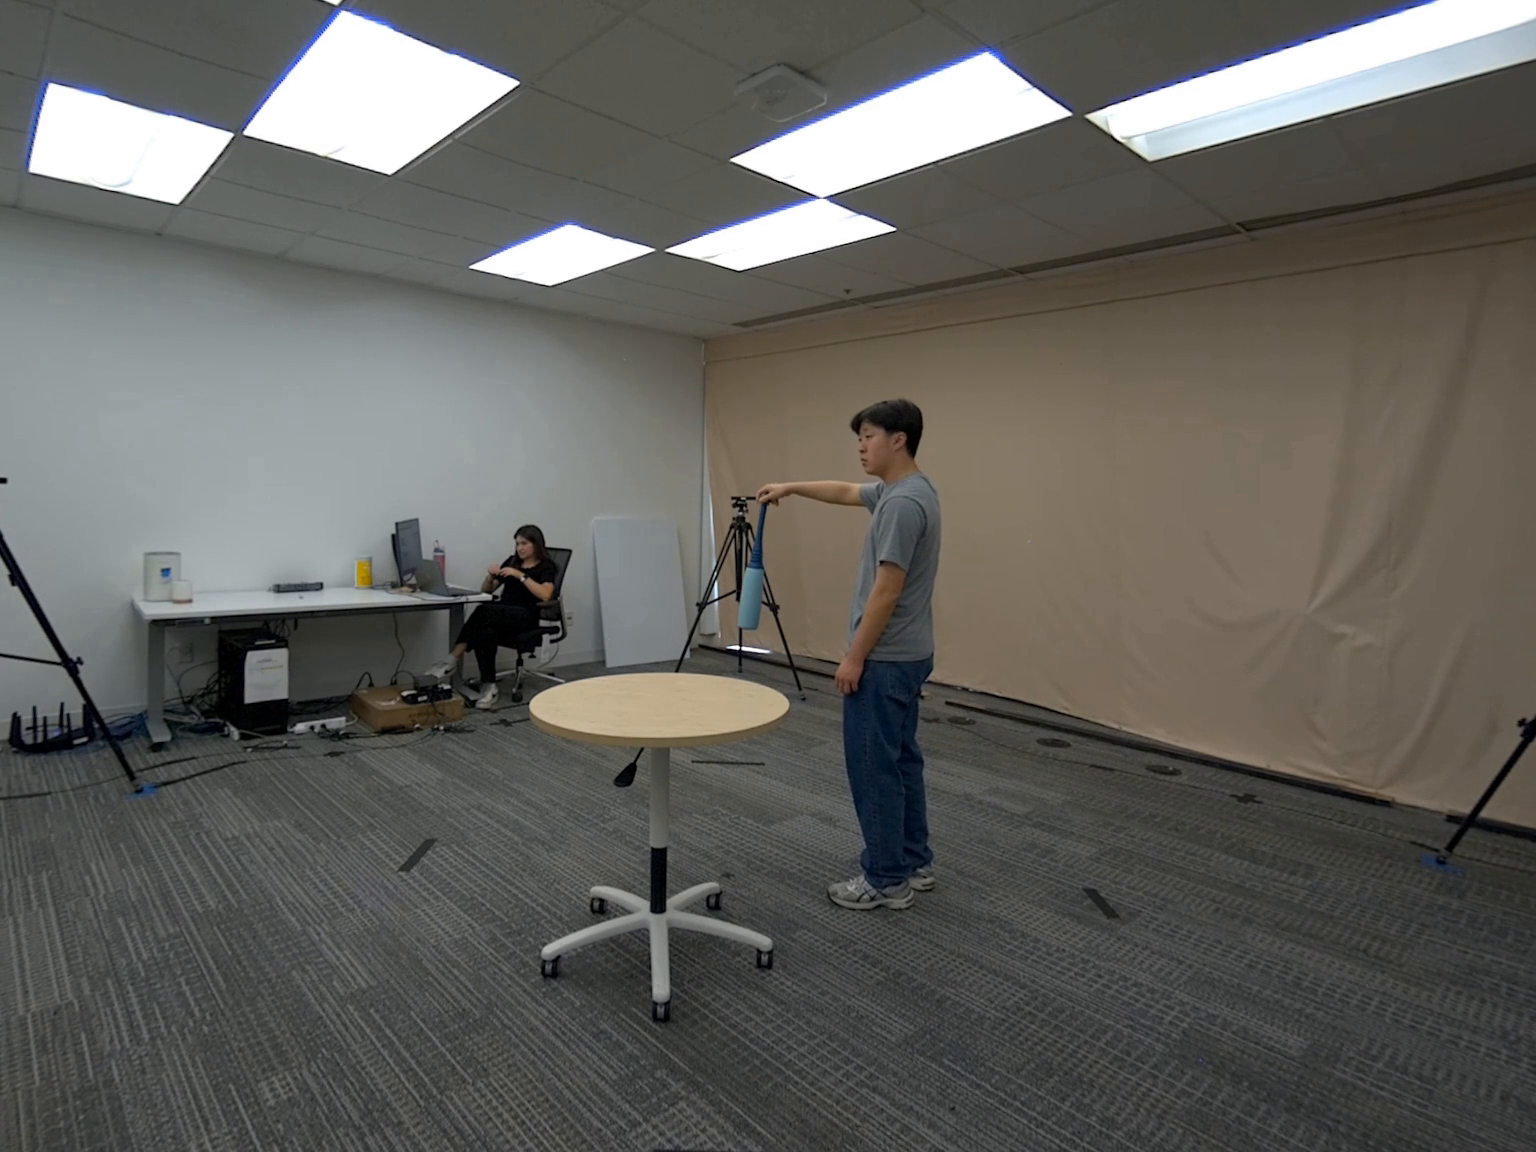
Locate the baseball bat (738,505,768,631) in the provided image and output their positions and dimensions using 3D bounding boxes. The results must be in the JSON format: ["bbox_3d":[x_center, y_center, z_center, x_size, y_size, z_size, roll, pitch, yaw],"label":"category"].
[{"bbox_3d":[-0.048,-0.052,3.412,0.089,0.543,0.089,7,-2,-1],"label":"baseball bat"}]
